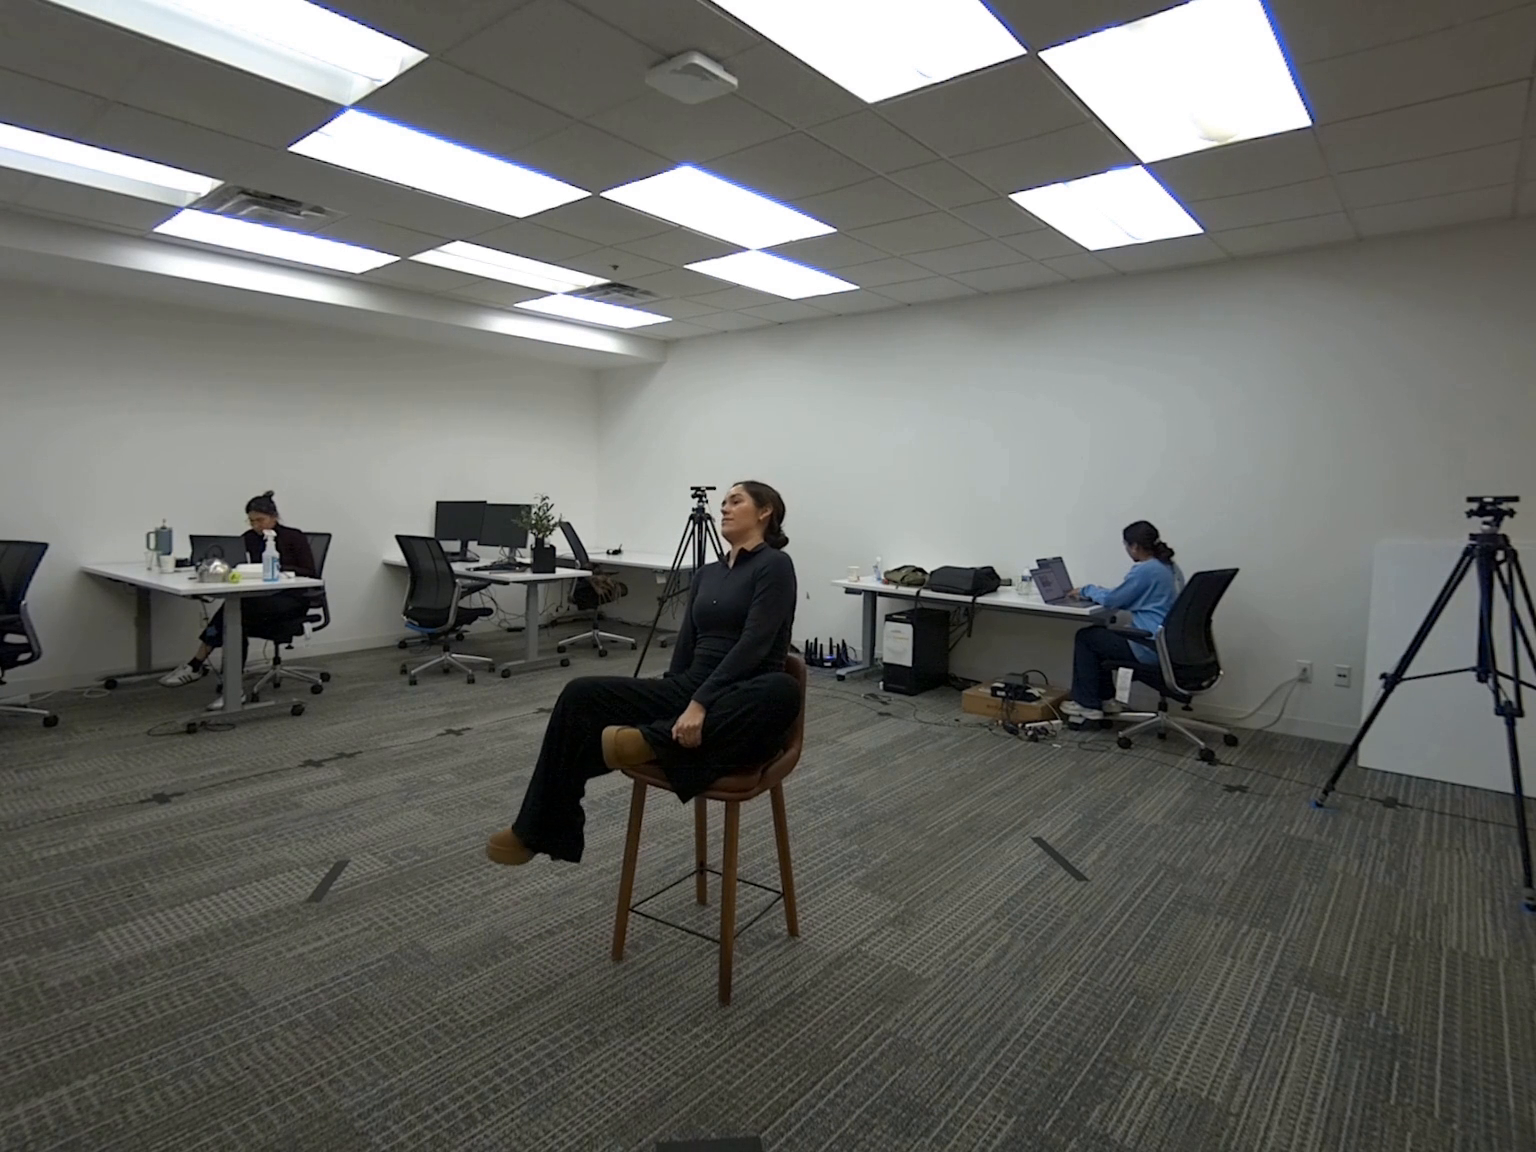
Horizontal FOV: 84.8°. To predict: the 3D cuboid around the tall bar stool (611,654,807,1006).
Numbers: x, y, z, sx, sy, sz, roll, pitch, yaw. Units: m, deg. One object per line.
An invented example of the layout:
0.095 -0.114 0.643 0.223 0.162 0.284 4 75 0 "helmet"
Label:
-0.171 0.689 2.553 0.470 0.888 0.454 3 2 32 "tall bar stool"
